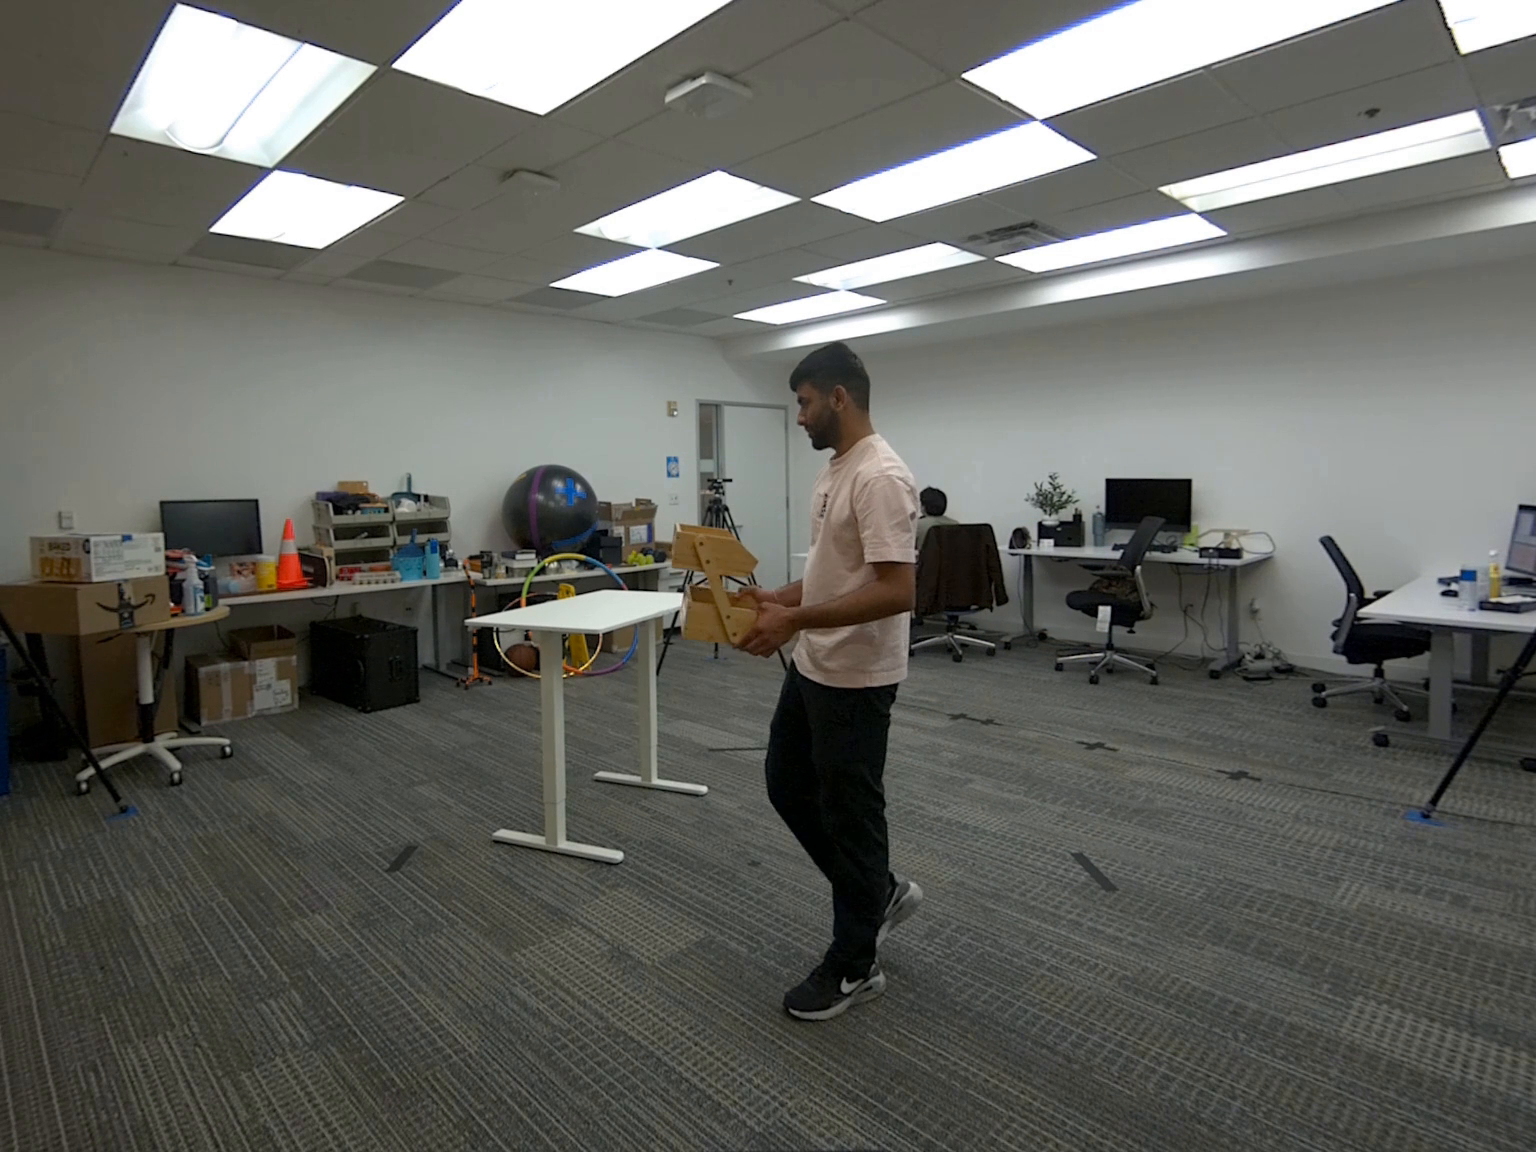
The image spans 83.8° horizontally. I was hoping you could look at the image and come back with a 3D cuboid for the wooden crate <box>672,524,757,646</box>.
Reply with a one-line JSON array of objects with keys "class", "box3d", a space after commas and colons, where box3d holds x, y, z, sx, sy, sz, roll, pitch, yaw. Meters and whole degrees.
[{"class": "wooden crate", "box3d": [-0.098, 0.014, 2.238, 0.300, 0.272, 0.327, 7, 5, -6]}]
